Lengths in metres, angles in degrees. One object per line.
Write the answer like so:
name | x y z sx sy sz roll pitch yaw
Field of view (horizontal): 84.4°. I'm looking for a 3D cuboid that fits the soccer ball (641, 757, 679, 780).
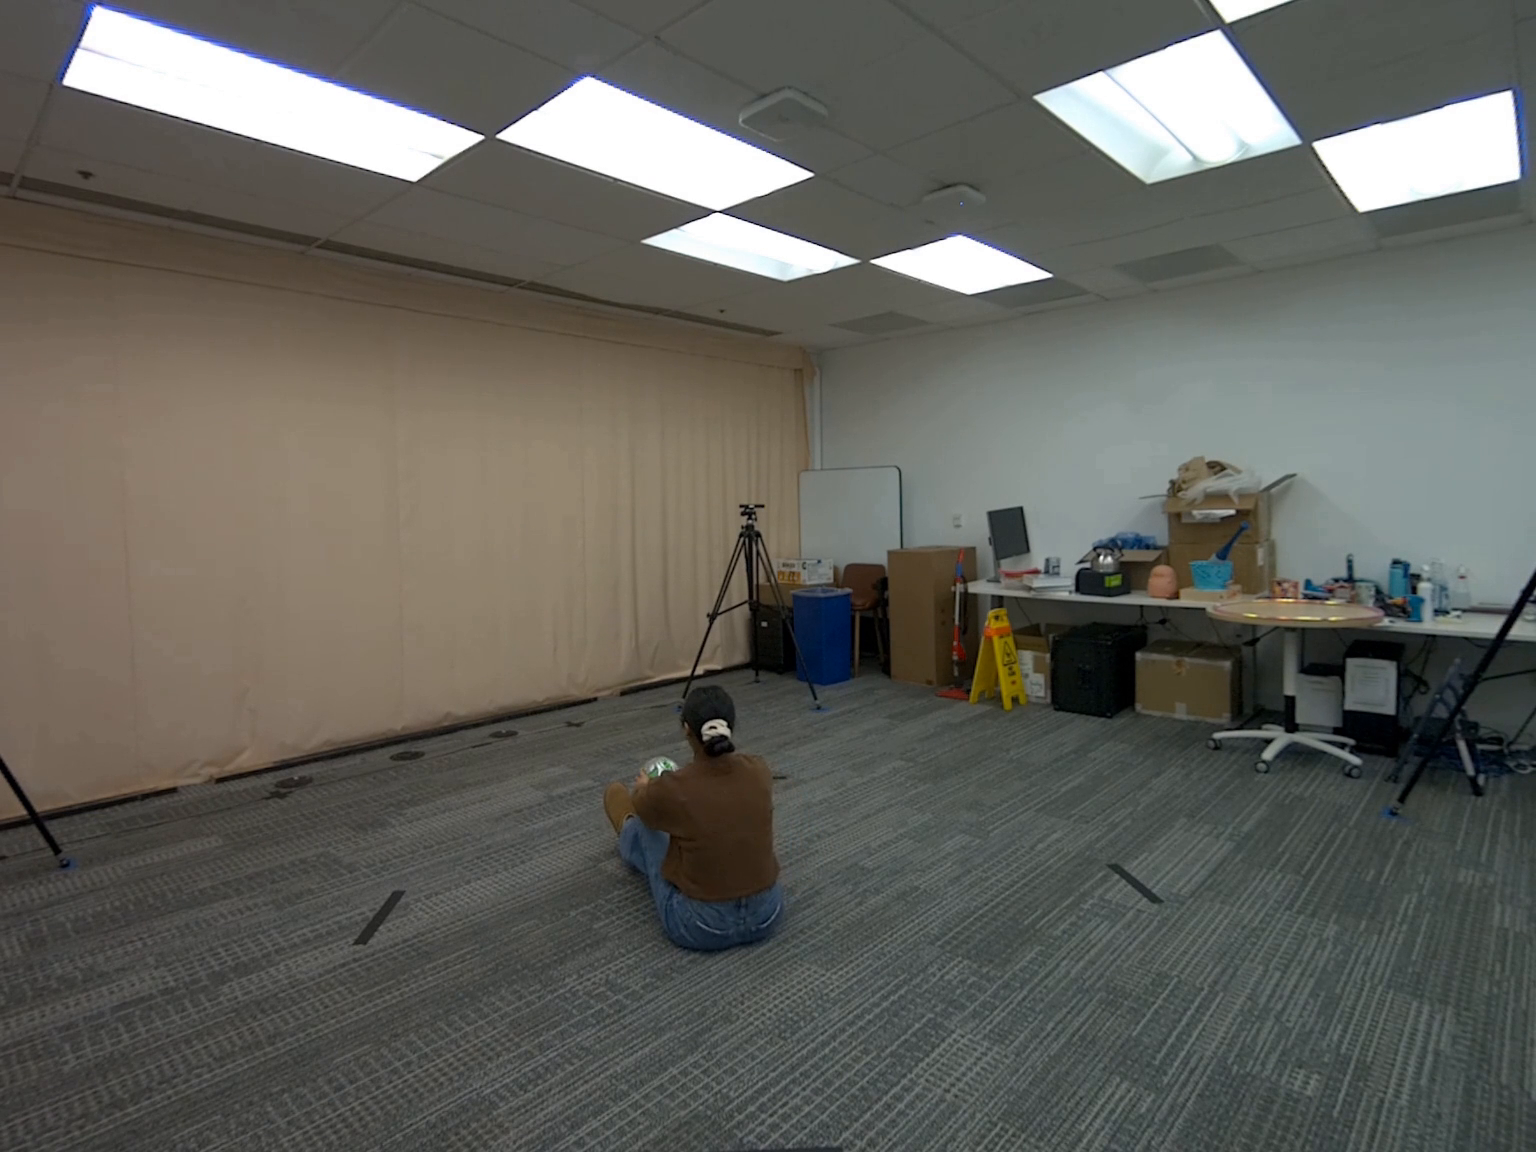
soccer ball | -0.425 0.818 3.358 0.187 0.187 0.188 -1 4 -2
